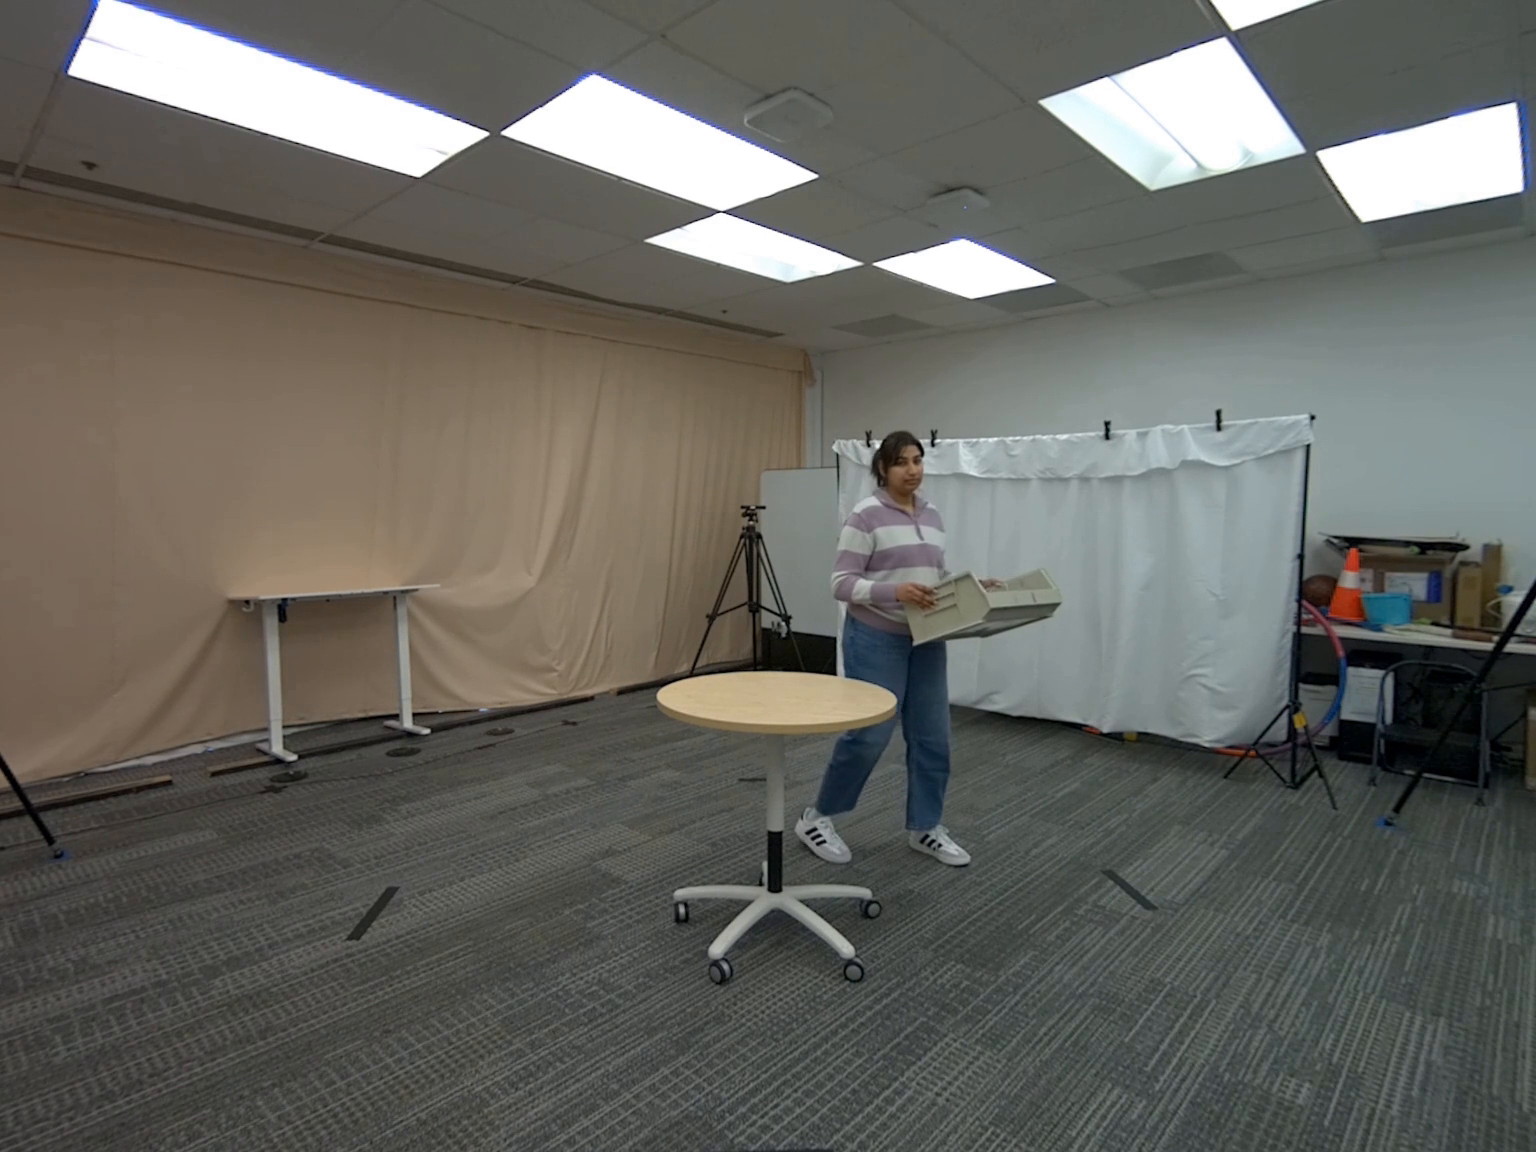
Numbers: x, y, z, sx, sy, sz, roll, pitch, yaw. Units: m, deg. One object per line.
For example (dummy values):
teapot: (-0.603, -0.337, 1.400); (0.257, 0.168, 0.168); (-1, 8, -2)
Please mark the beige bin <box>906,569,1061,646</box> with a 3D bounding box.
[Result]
beige bin: (0.759, 0.110, 3.011); (0.410, 0.191, 0.384); (-3, -17, -37)
